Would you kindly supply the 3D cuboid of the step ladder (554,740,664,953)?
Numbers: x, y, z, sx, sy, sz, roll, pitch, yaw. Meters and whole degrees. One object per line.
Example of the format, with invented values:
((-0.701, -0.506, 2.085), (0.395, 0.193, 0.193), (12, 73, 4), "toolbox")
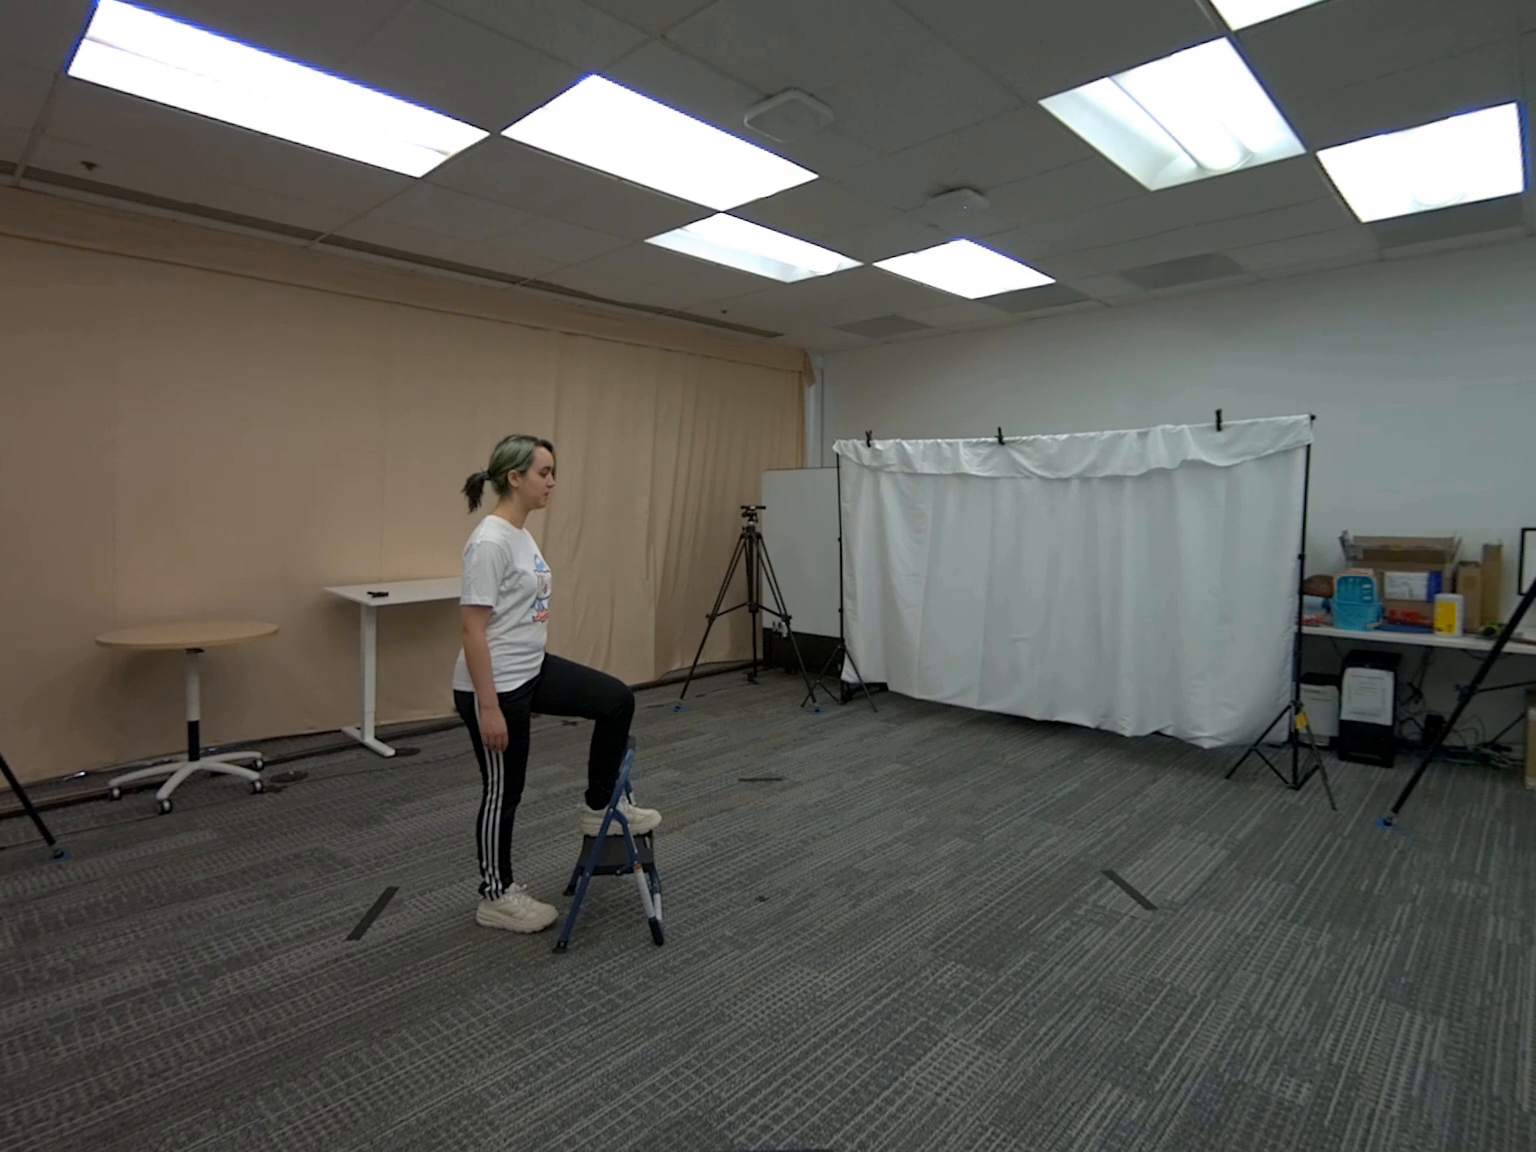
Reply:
((-0.532, 0.865, 2.834), (0.346, 0.605, 0.435), (-1, 3, -8), "step ladder")
